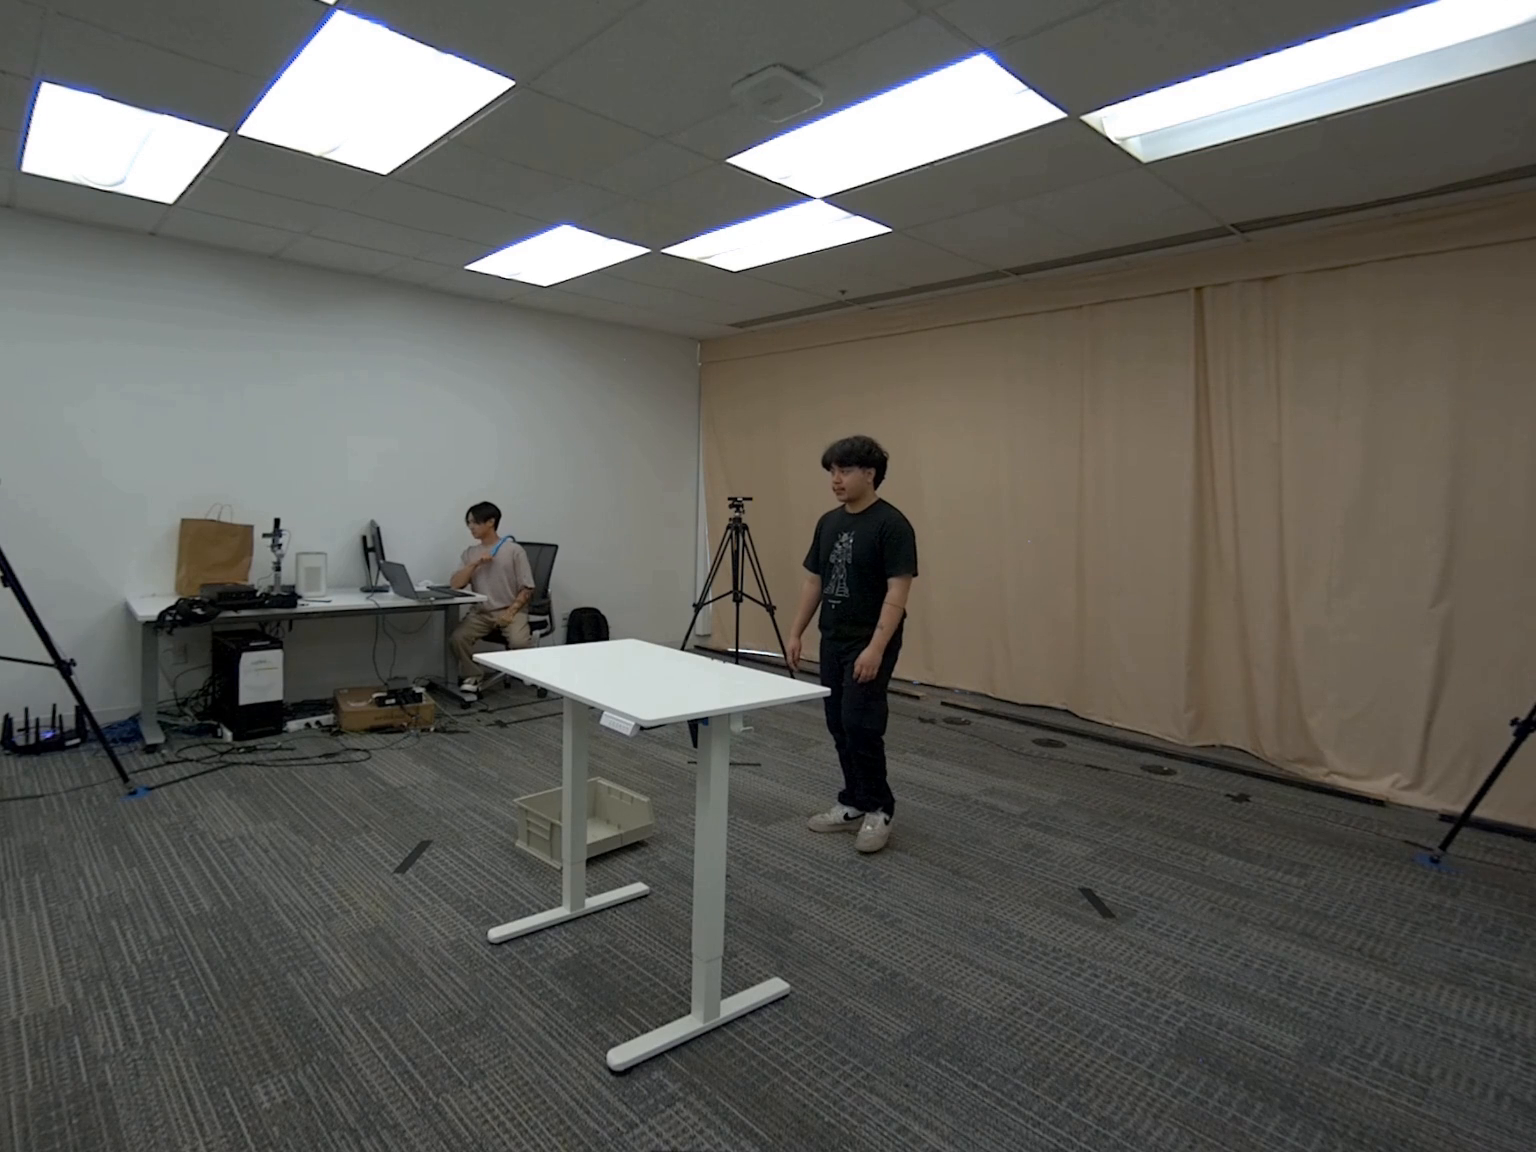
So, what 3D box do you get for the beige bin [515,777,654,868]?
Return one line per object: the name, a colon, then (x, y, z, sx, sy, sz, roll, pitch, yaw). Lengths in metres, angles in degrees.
beige bin: (-0.741, 0.984, 3.356, 0.387, 0.188, 0.413, 5, 6, 43)
